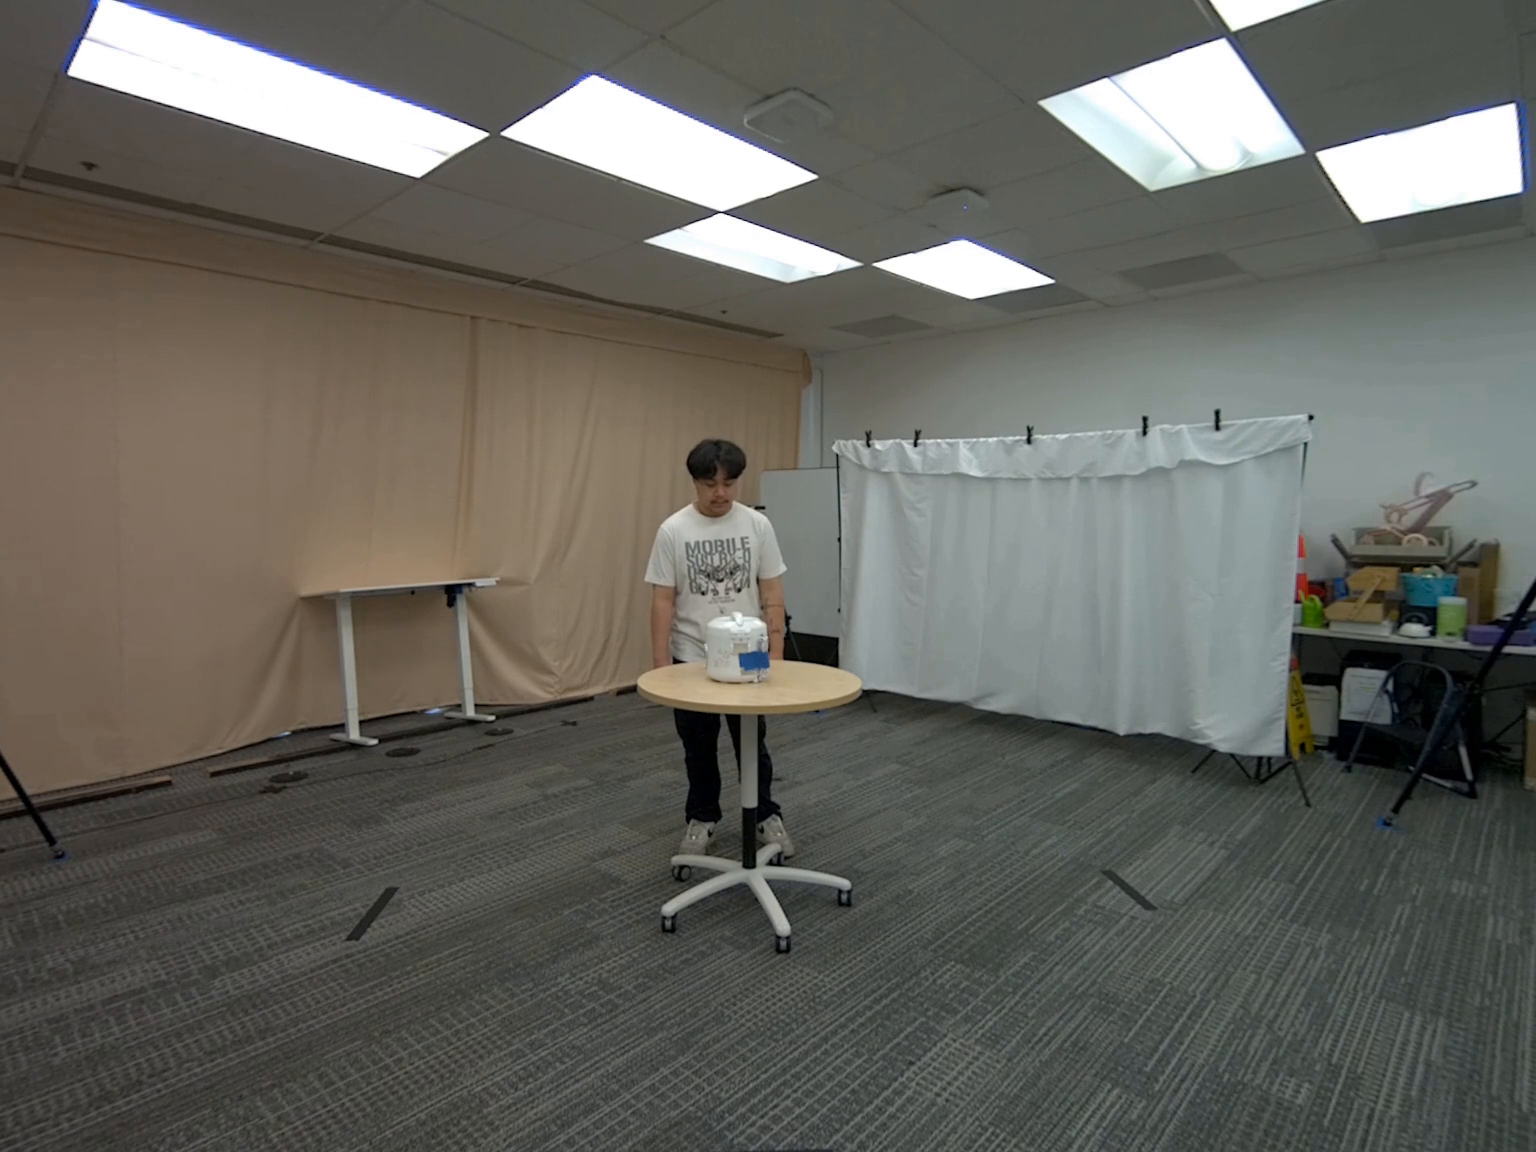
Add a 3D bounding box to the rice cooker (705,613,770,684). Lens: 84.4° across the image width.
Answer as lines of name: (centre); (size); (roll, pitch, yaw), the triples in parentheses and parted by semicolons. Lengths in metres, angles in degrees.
rice cooker: (-0.108, 0.235, 2.894); (0.216, 0.232, 0.223); (0, 3, -8)
